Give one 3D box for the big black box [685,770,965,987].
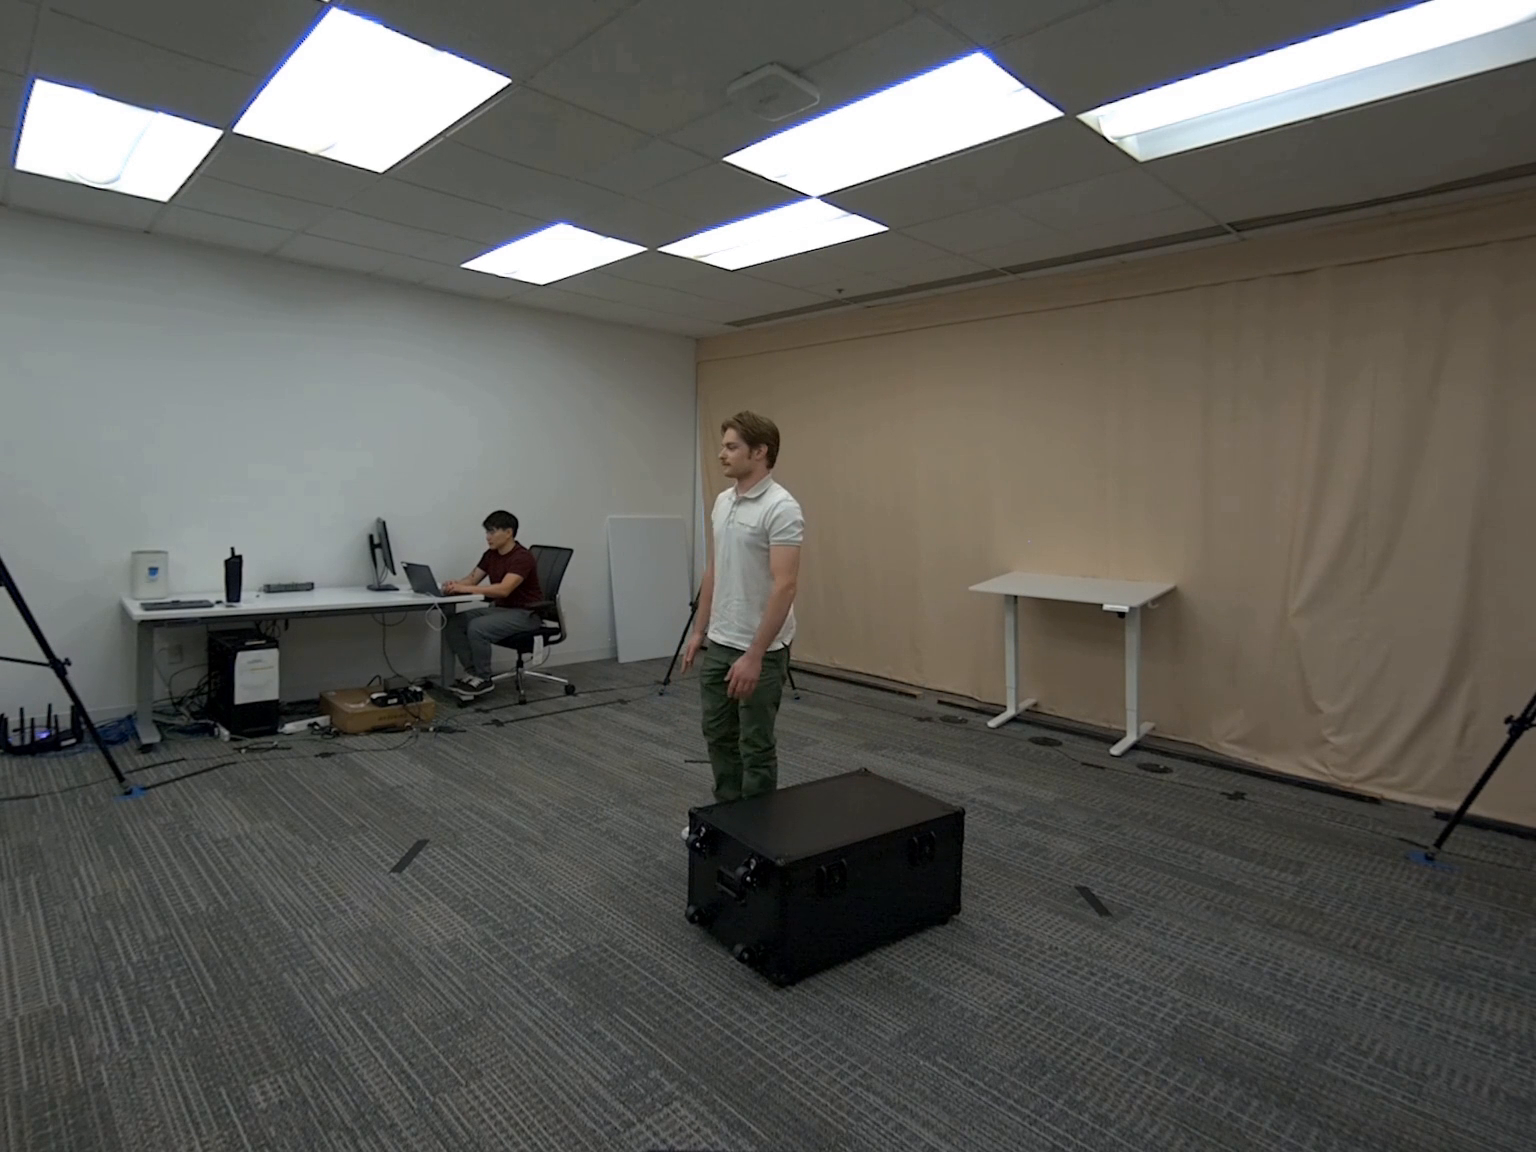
[{"bbox_3d":[0.158,0.947,2.753,0.850,0.384,0.537,-2,7,-35],"label":"big black box"}]
